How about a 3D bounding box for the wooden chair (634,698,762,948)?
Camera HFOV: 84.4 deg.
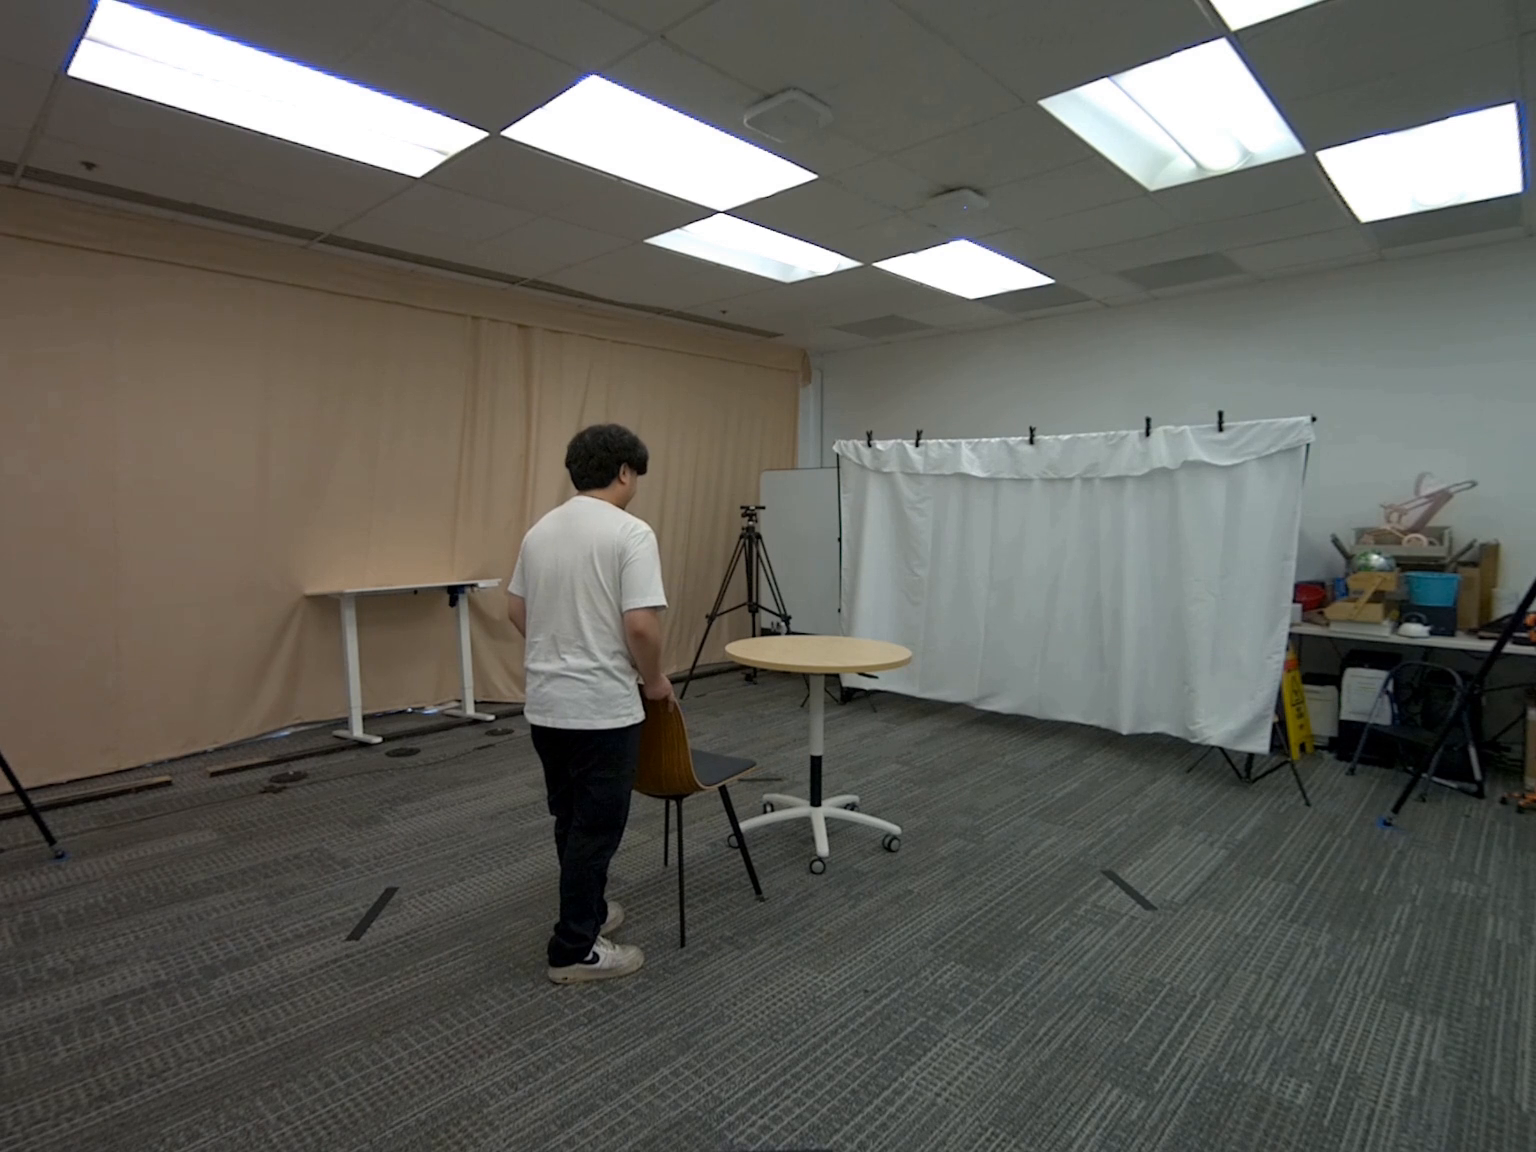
[{"bbox_3d":[-0.328,0.721,2.943,0.493,0.873,0.509,1,8,35],"label":"wooden chair"}]
